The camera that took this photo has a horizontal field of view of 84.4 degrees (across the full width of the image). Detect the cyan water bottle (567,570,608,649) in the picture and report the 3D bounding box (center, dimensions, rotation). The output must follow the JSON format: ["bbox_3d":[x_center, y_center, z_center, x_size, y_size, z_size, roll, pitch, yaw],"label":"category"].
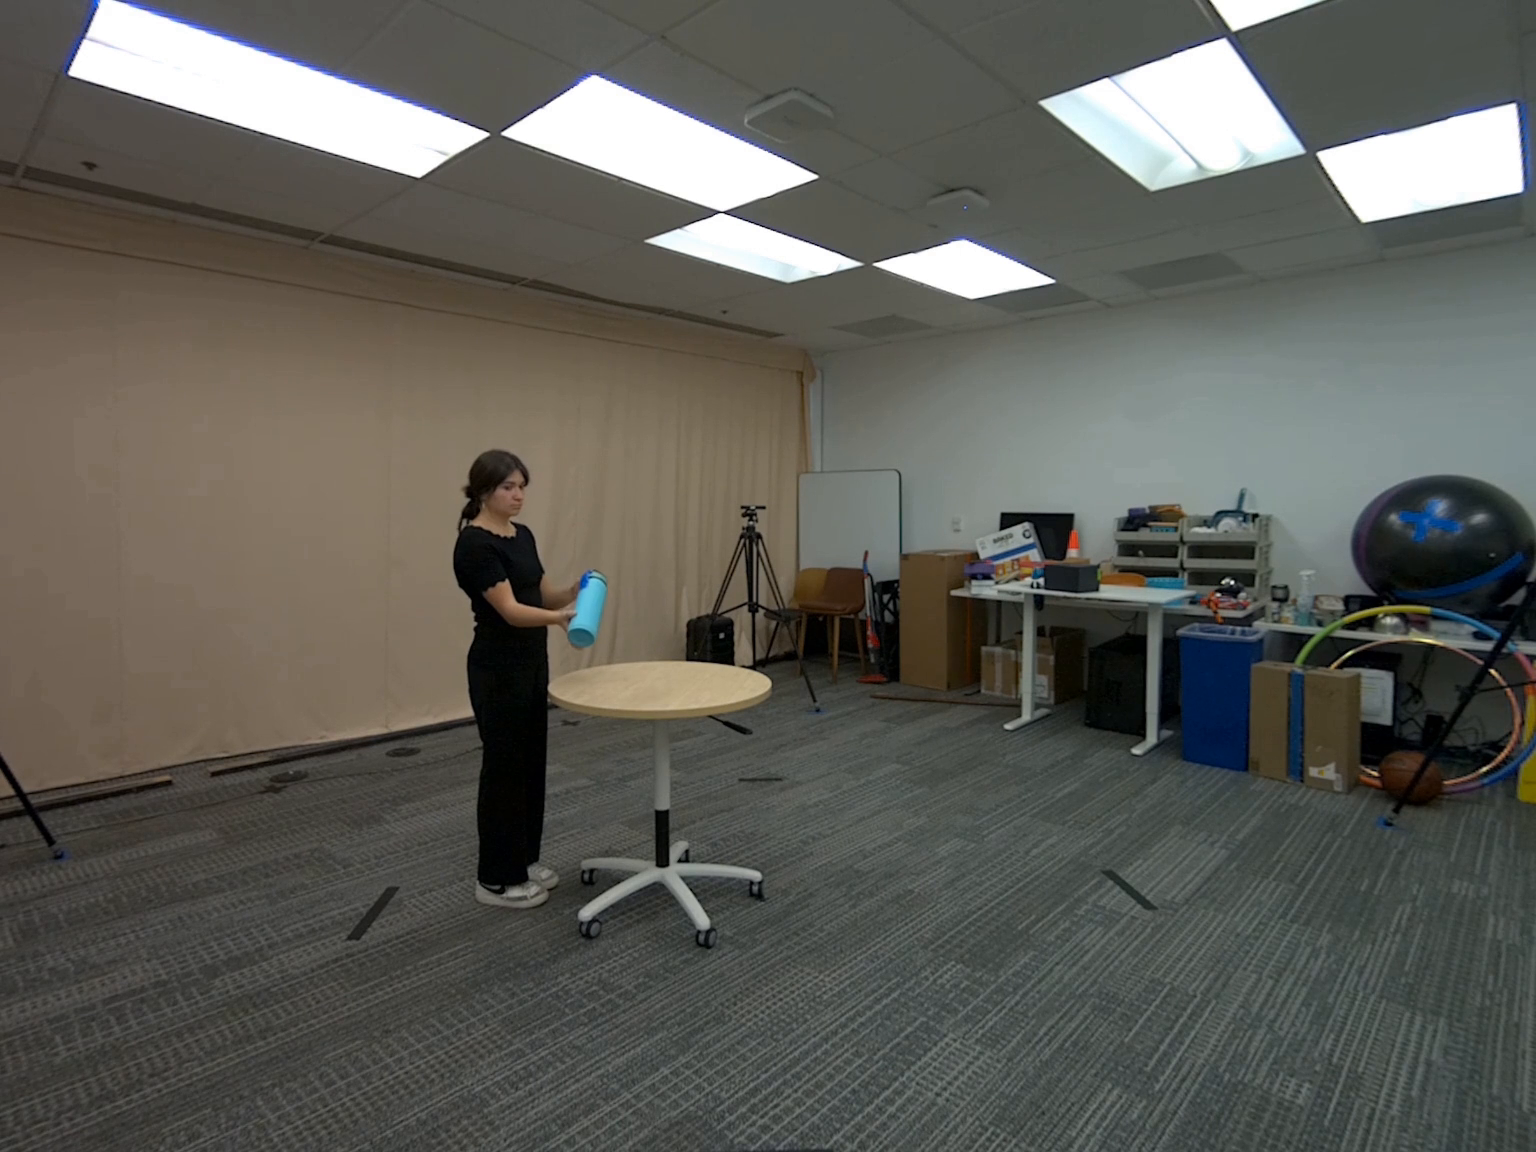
[{"bbox_3d":[-0.564,0.088,2.675,0.092,0.090,0.288,-1,41,2],"label":"cyan water bottle"}]
